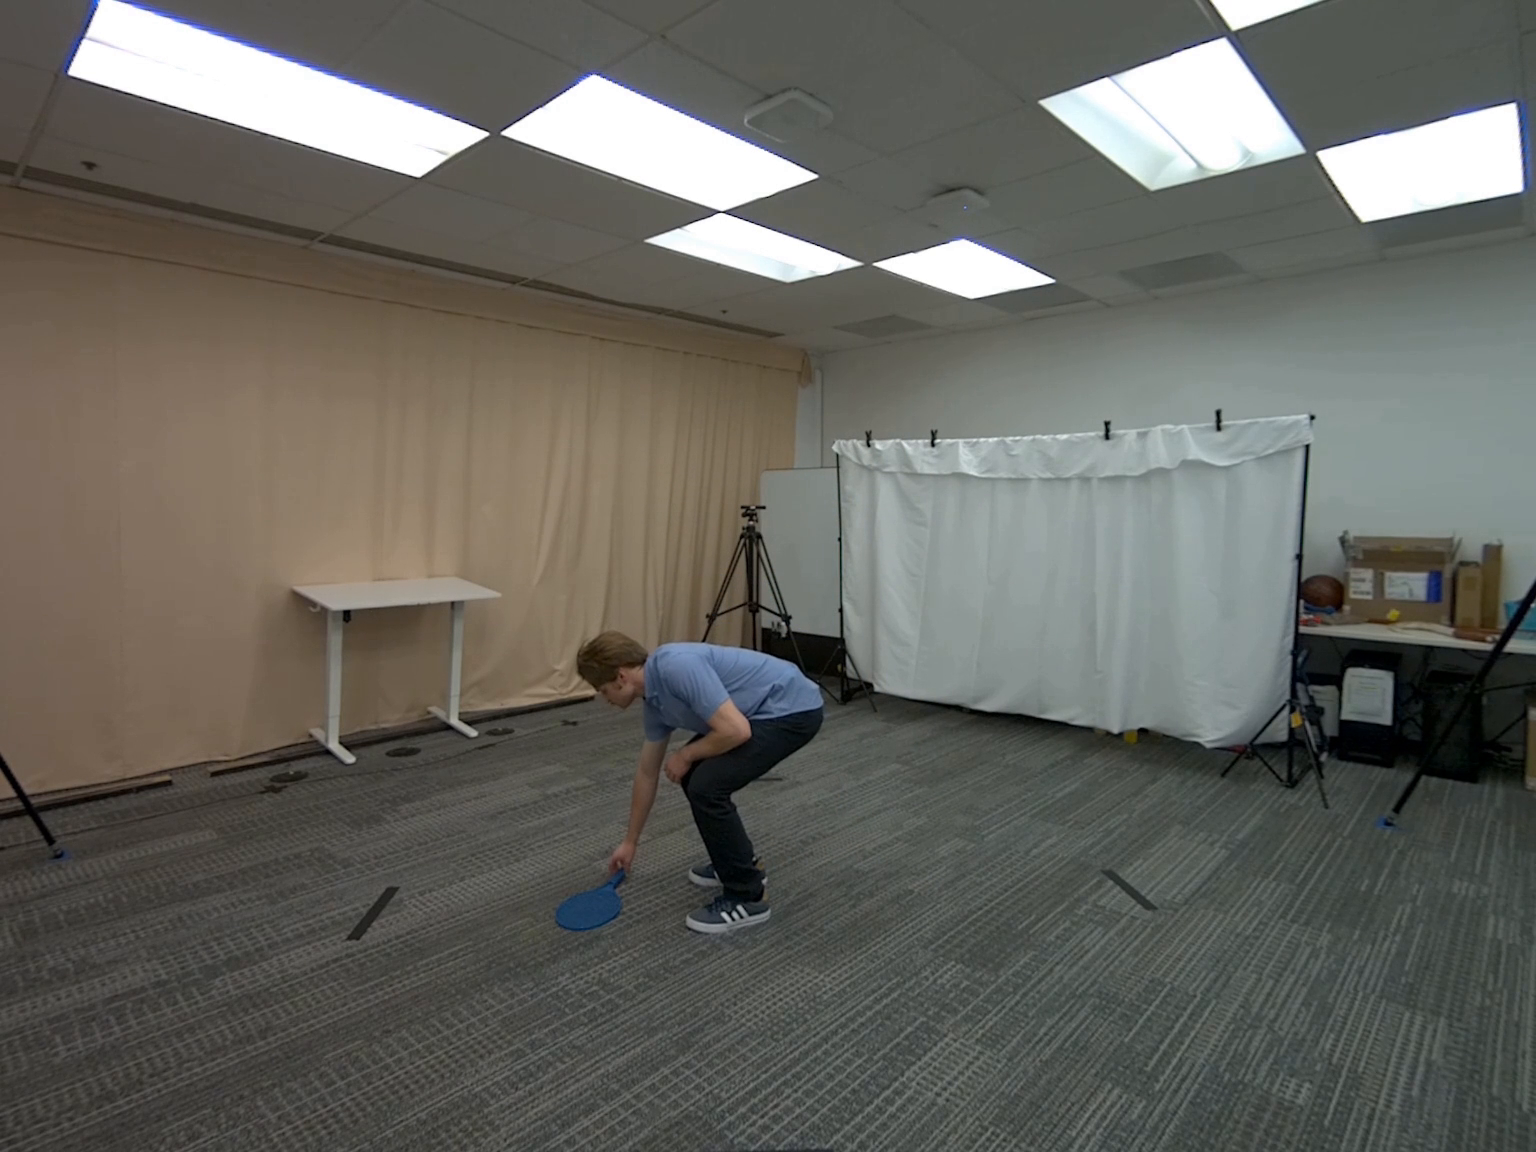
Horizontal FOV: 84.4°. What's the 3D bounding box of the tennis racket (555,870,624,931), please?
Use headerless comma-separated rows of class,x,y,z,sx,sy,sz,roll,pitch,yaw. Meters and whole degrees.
tennis racket,-0.592,1.133,2.974,0.218,0.031,0.426,1,7,18
